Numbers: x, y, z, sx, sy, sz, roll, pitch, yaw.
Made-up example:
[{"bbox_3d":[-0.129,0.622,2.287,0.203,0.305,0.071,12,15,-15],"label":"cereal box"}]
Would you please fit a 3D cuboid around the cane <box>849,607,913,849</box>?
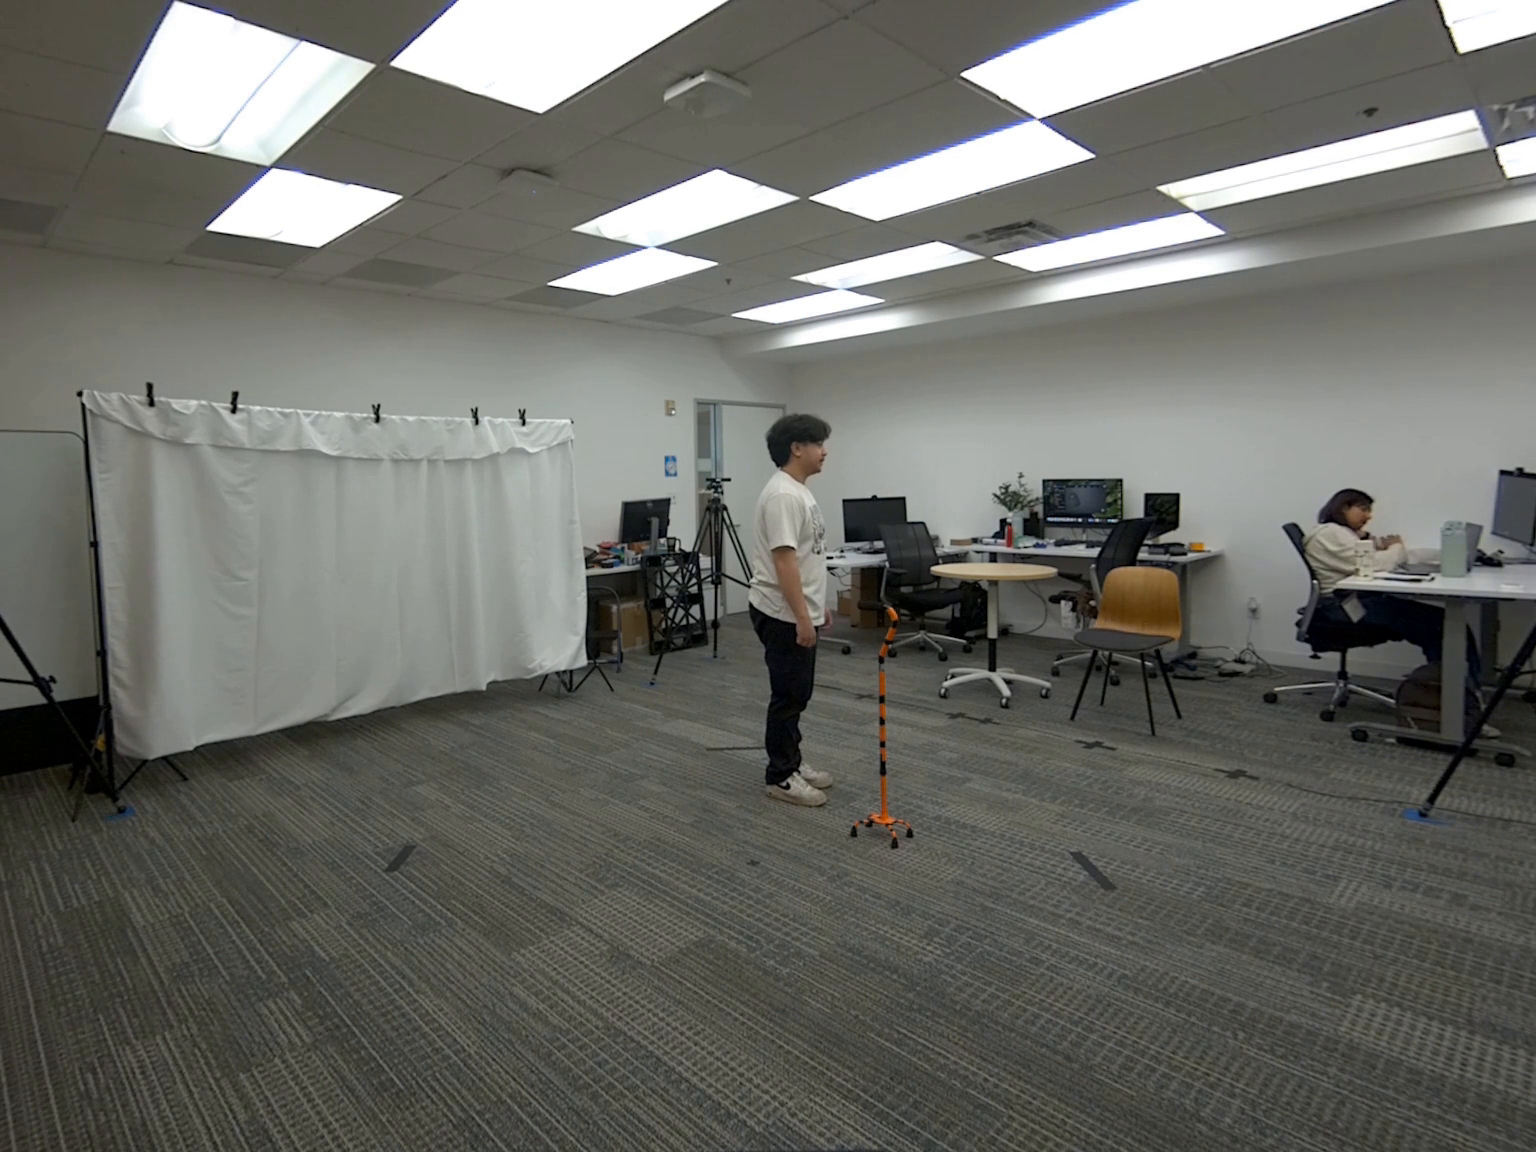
[{"bbox_3d":[0.437,0.561,3.290,0.213,0.905,0.147,2,4,40],"label":"cane"}]
